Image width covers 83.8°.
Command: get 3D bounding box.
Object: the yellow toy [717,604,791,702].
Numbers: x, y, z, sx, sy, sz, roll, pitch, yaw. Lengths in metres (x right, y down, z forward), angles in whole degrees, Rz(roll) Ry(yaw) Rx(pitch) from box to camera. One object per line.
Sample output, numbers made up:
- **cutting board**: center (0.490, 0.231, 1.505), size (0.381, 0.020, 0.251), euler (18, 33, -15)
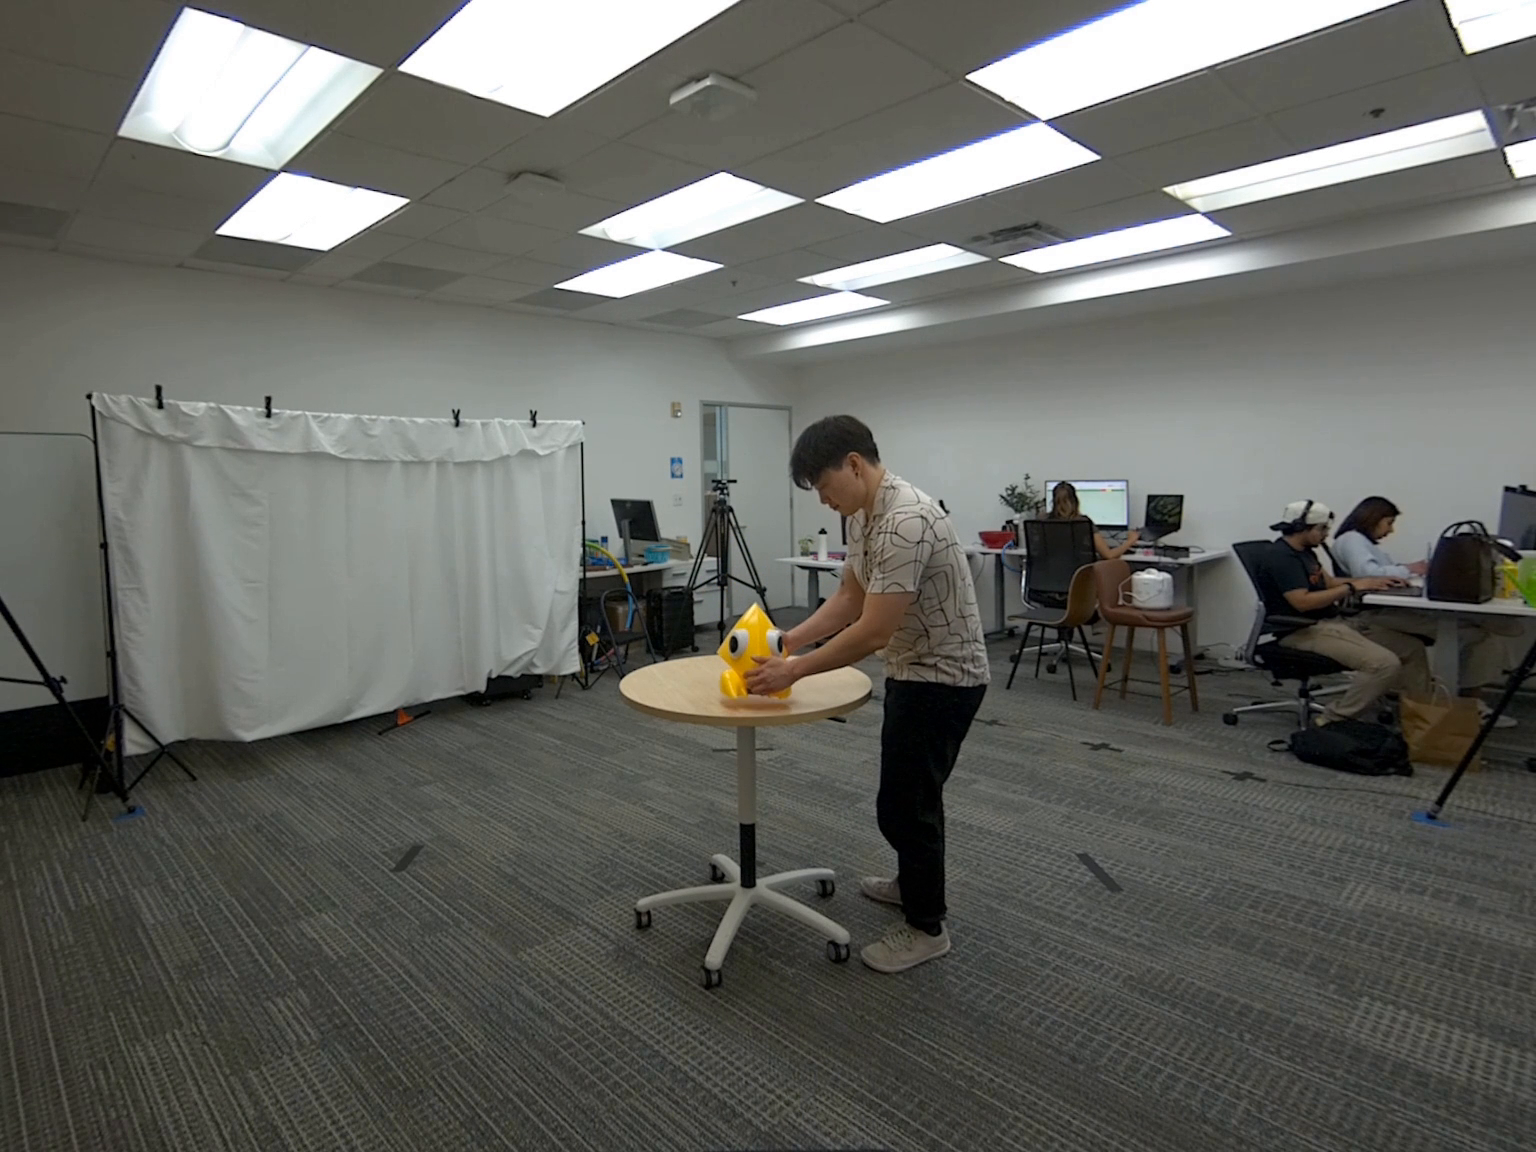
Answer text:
- **yellow toy**: center (-0.023, 0.198, 2.355), size (0.204, 0.229, 0.195), euler (2, 7, -5)
